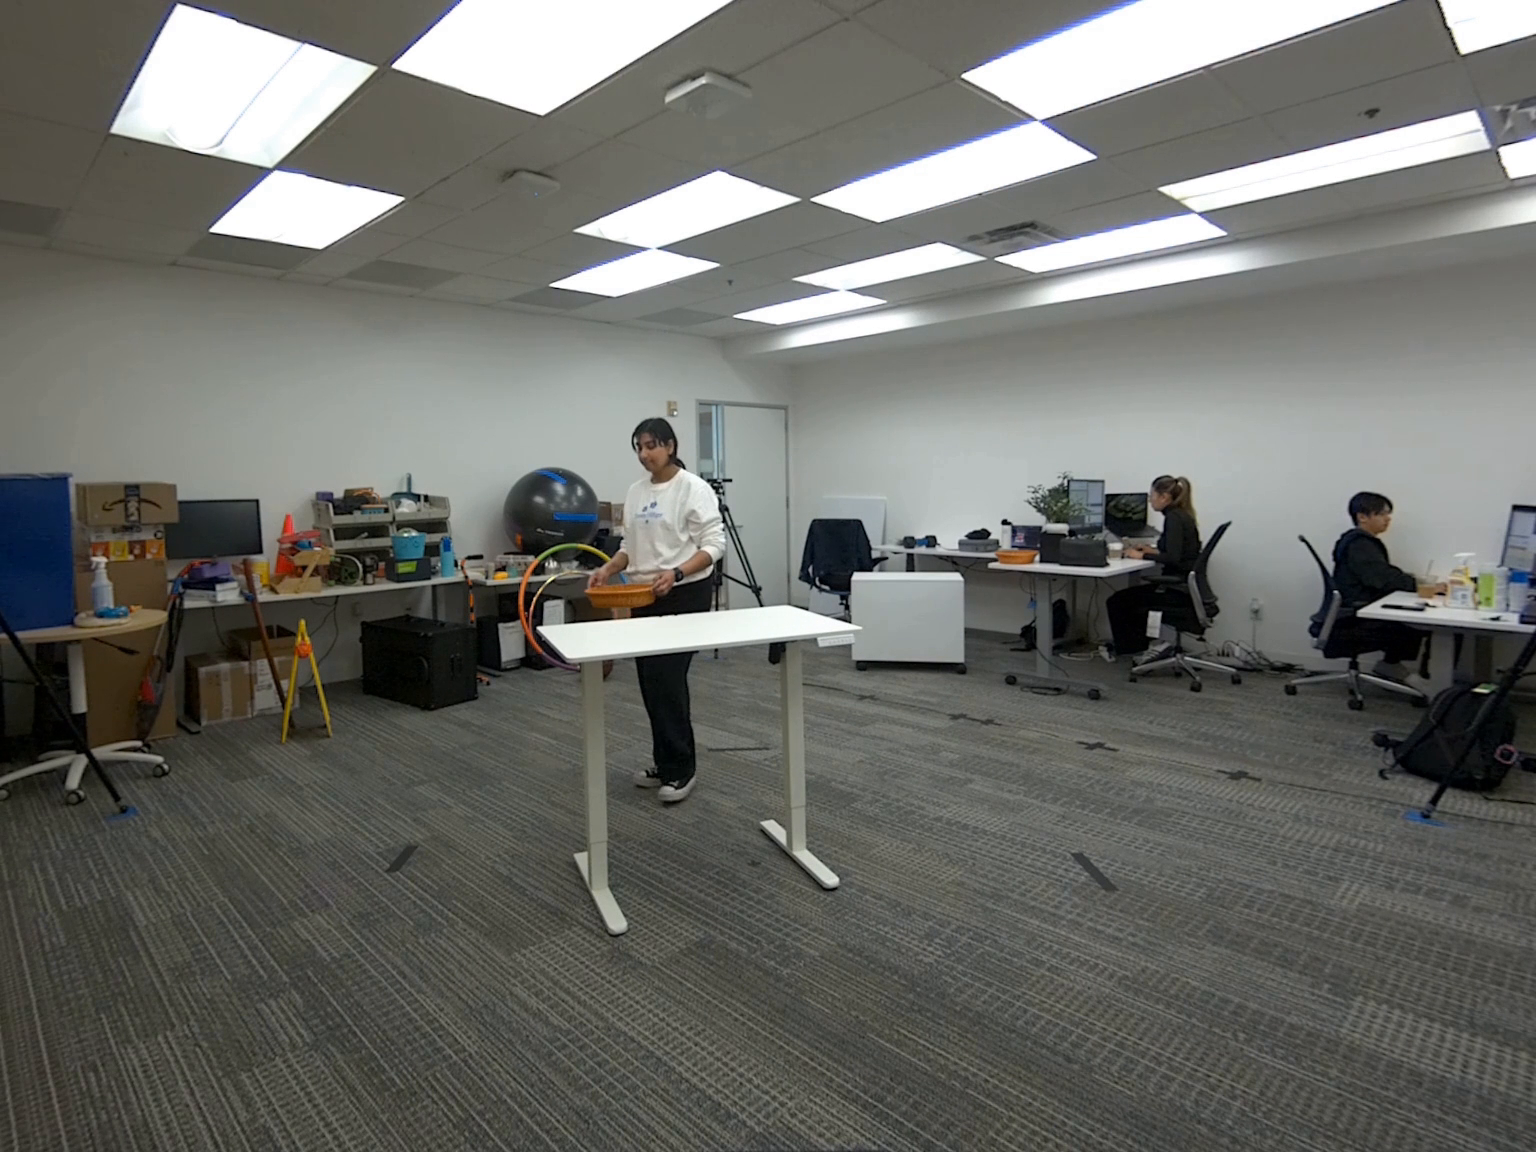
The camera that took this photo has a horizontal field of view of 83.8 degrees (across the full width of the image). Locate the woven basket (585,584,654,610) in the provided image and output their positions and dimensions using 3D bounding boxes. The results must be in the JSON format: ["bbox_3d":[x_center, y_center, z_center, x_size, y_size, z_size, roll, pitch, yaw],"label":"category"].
[{"bbox_3d":[-0.632,0.088,3.699,0.360,0.073,0.246,-1,6,36],"label":"woven basket"}]
